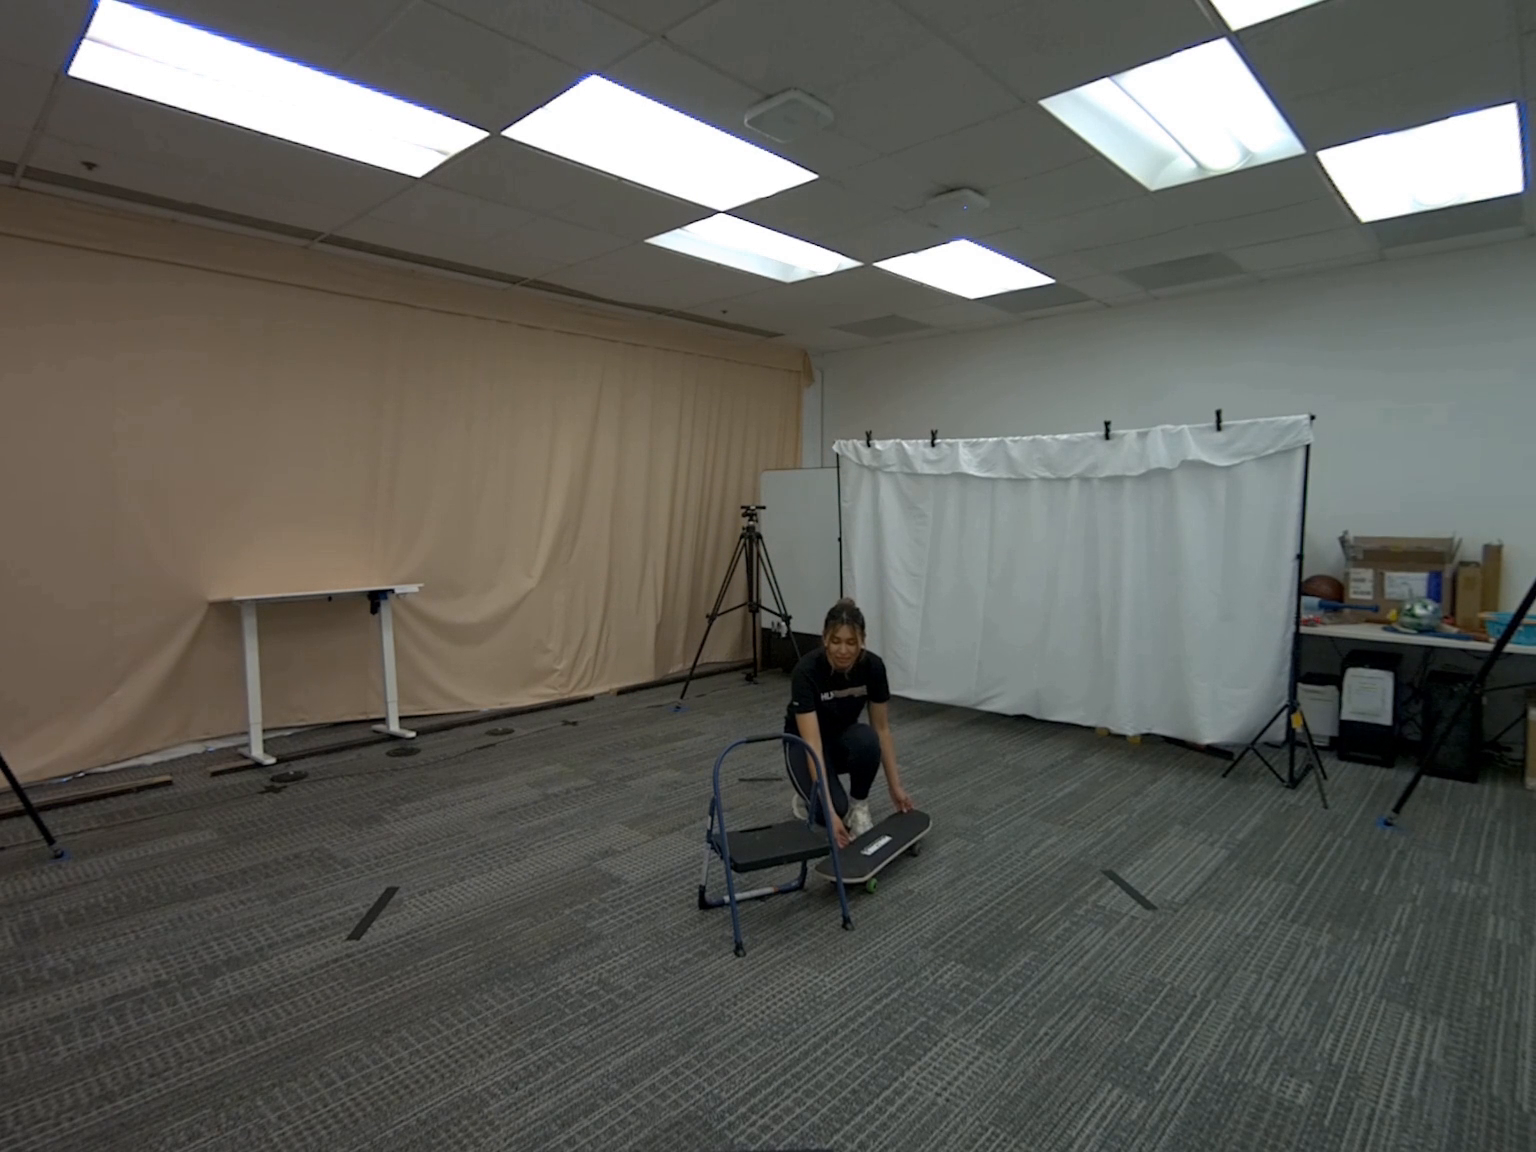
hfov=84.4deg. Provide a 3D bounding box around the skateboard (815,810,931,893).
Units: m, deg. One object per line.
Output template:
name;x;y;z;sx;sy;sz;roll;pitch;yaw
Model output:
skateboard;0.438;1.070;3.232;0.199;0.110;0.764;3;7;33
